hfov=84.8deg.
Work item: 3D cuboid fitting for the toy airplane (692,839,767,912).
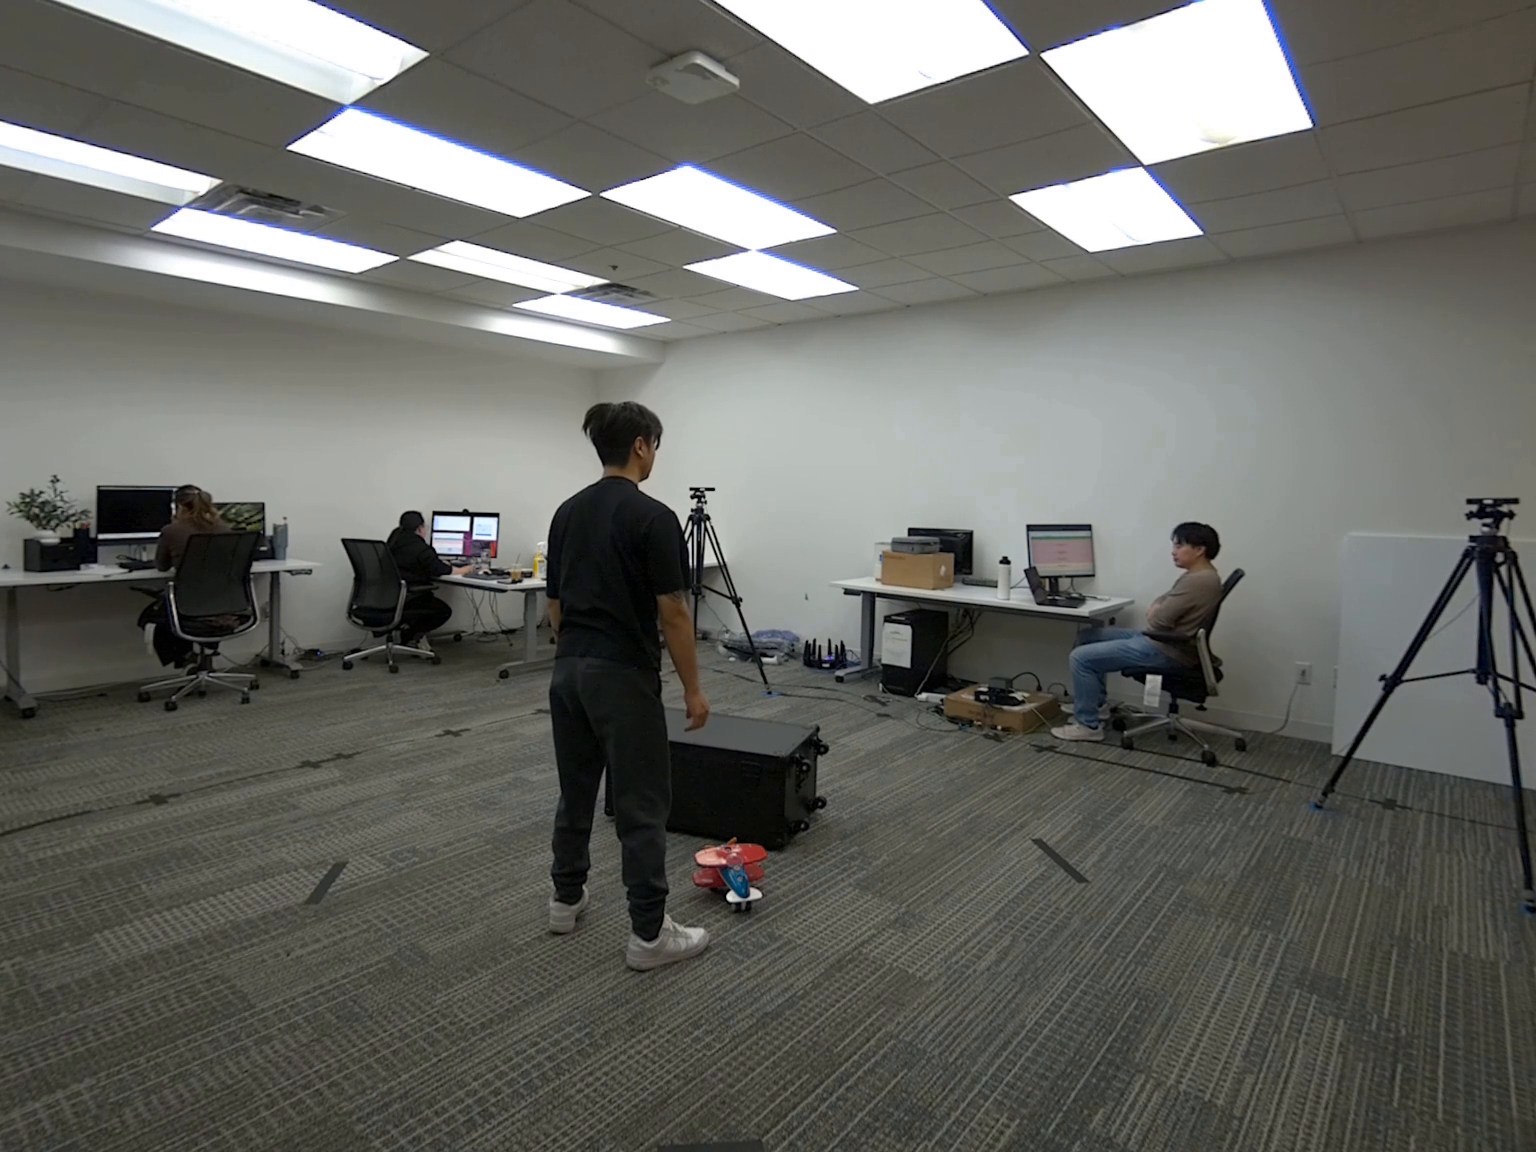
[{"bbox_3d":[-0.109,1.011,2.893,0.268,0.156,0.243,4,5,41],"label":"toy airplane"}]
